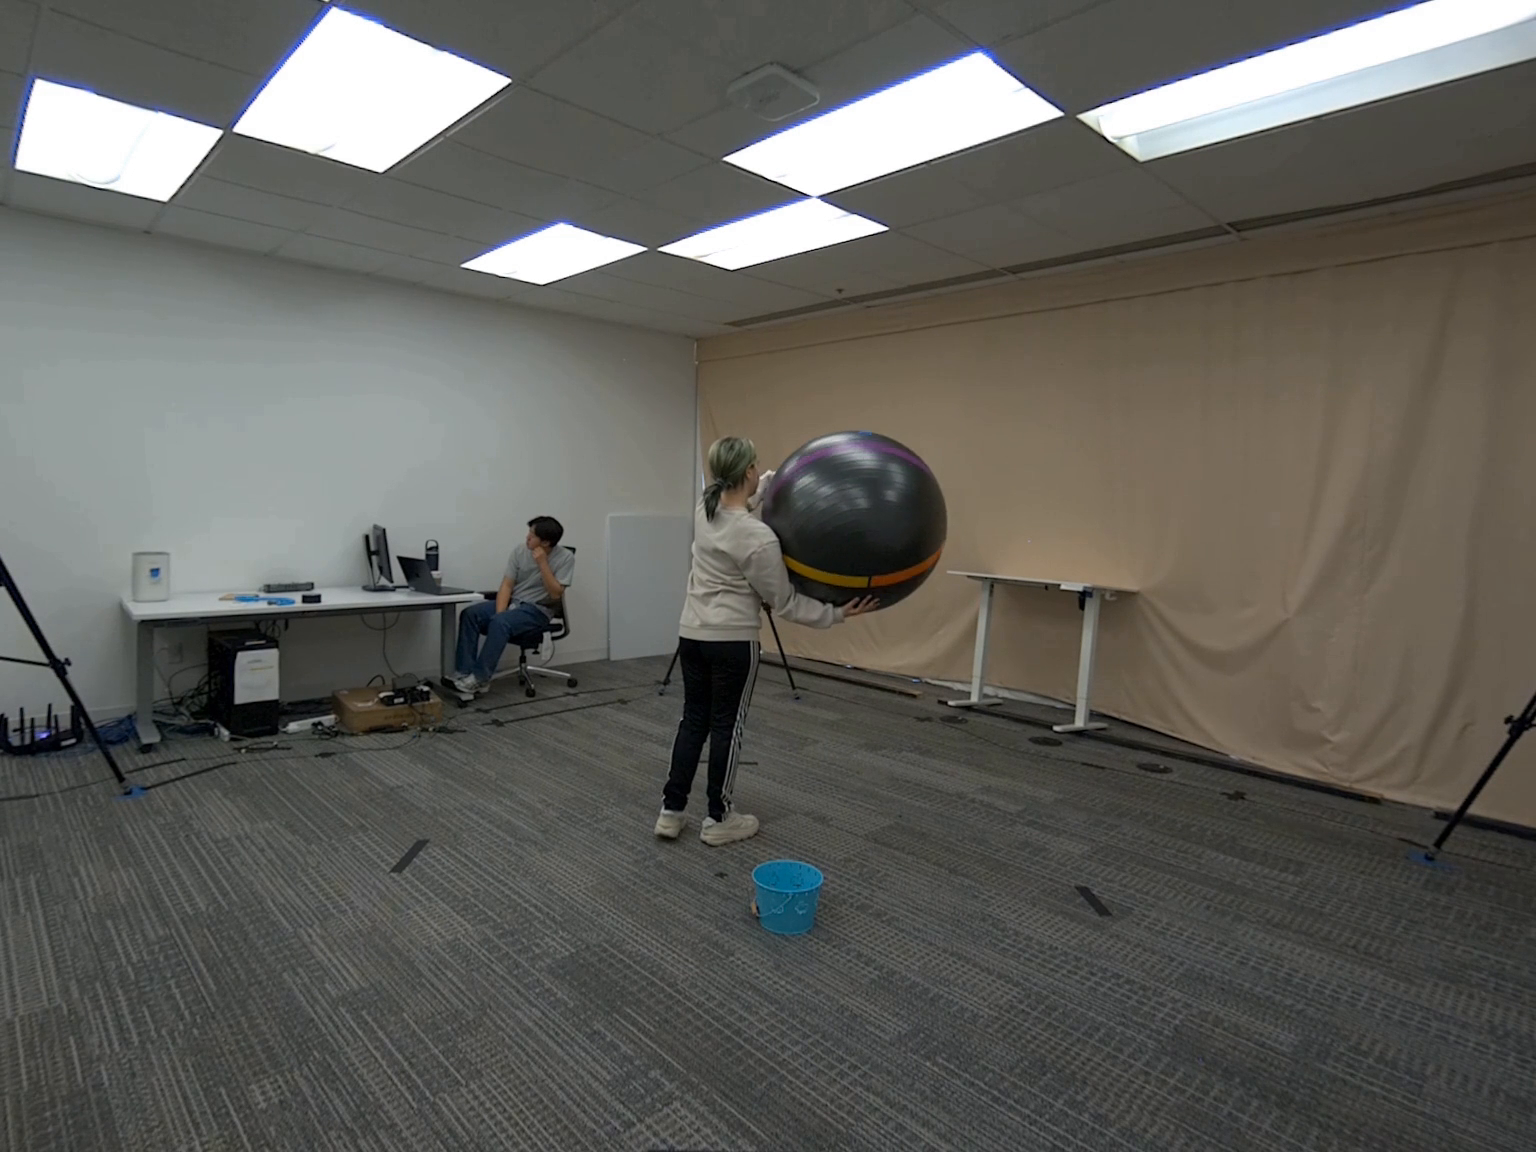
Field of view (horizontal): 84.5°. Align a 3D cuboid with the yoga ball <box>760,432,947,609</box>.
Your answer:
[{"bbox_3d":[0.357,-0.217,3.492,0.757,0.756,0.761,1,4,-1],"label":"yoga ball"}]
